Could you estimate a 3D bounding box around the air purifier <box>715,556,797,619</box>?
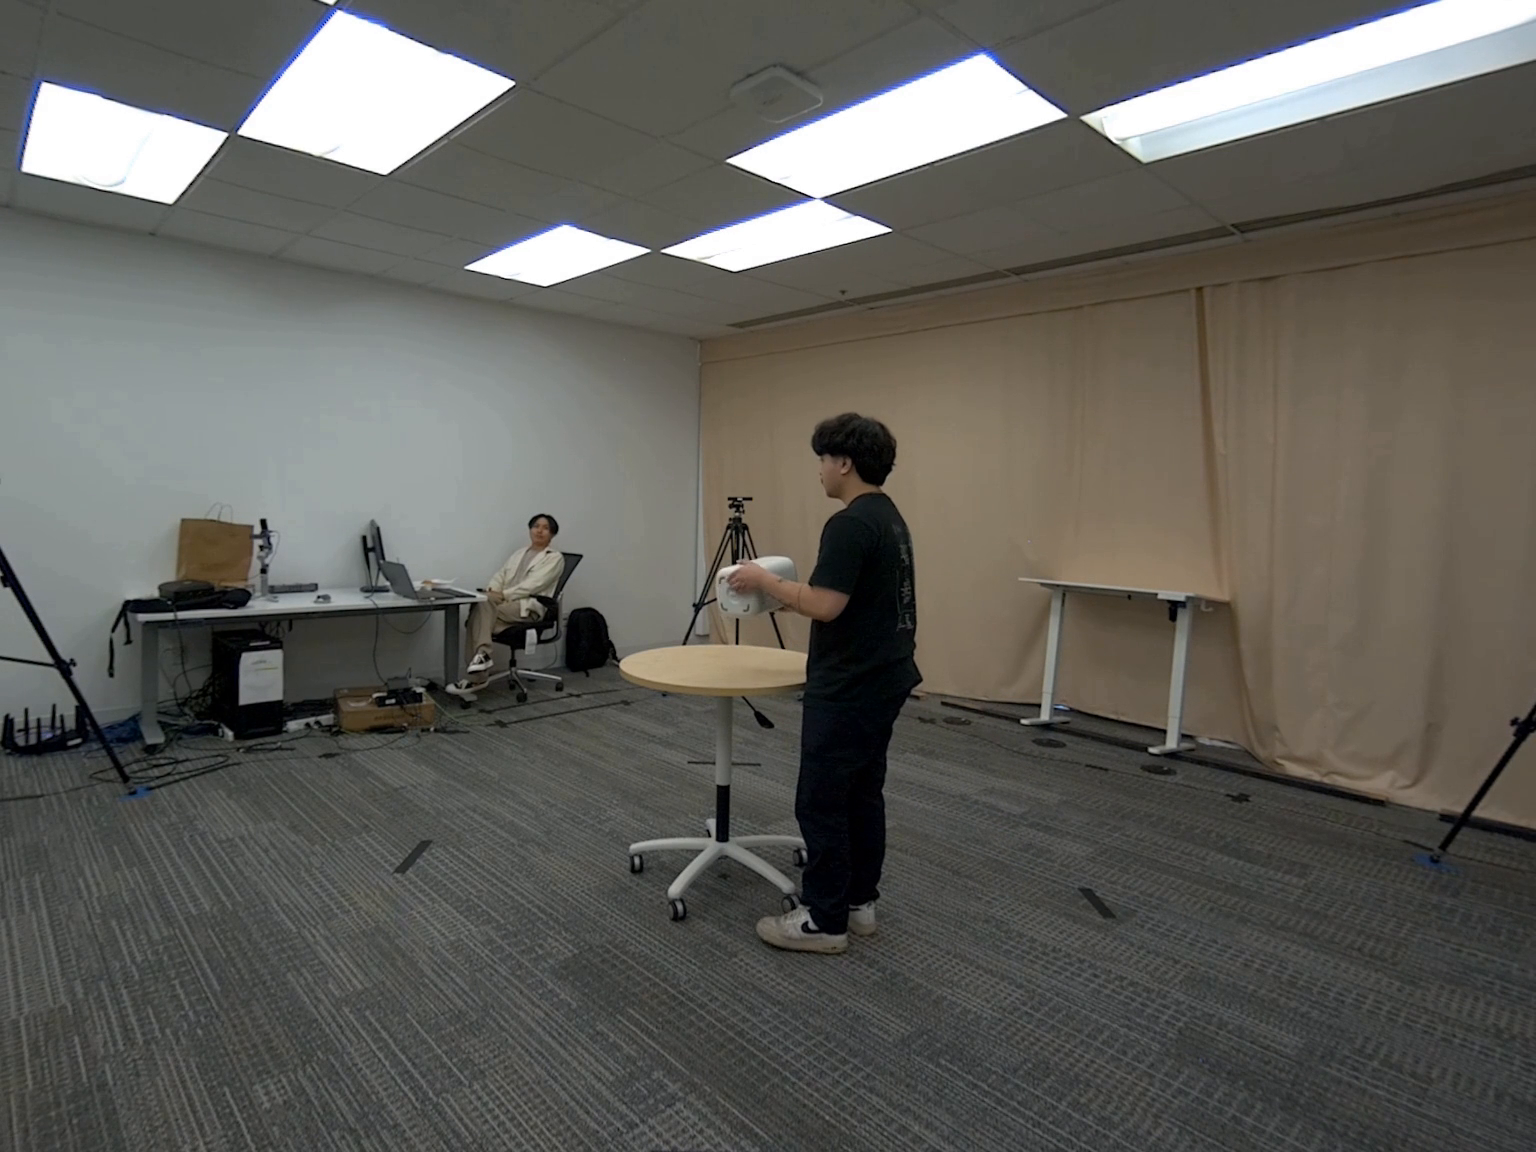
[{"bbox_3d":[-0.044,0.037,2.852,0.175,0.170,0.261,1,10,33],"label":"air purifier"}]
